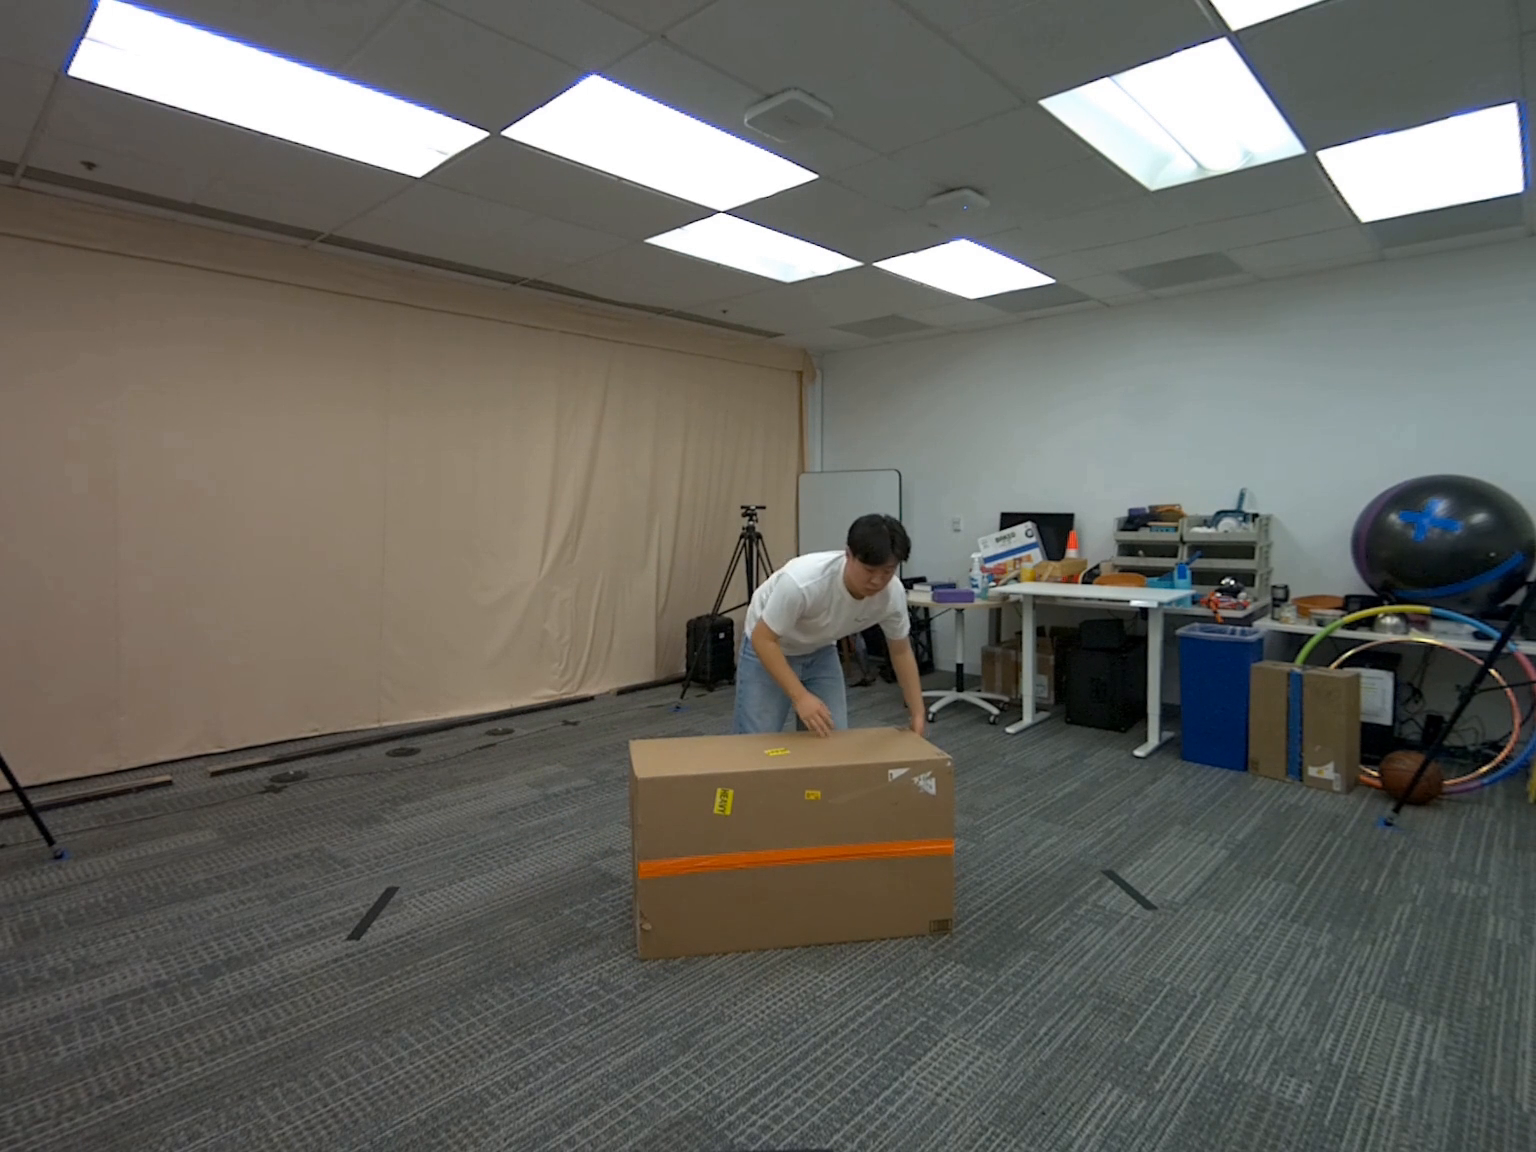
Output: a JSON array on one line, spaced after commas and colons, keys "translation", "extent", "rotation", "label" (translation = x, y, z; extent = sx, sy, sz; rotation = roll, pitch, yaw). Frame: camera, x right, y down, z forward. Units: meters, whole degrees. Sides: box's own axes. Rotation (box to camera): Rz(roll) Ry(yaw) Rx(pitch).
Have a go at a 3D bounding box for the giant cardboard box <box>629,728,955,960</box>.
[{"translation": [0.060, 0.868, 2.840], "extent": [1.015, 0.577, 0.431], "rotation": [-1, 2, -10], "label": "giant cardboard box"}]
